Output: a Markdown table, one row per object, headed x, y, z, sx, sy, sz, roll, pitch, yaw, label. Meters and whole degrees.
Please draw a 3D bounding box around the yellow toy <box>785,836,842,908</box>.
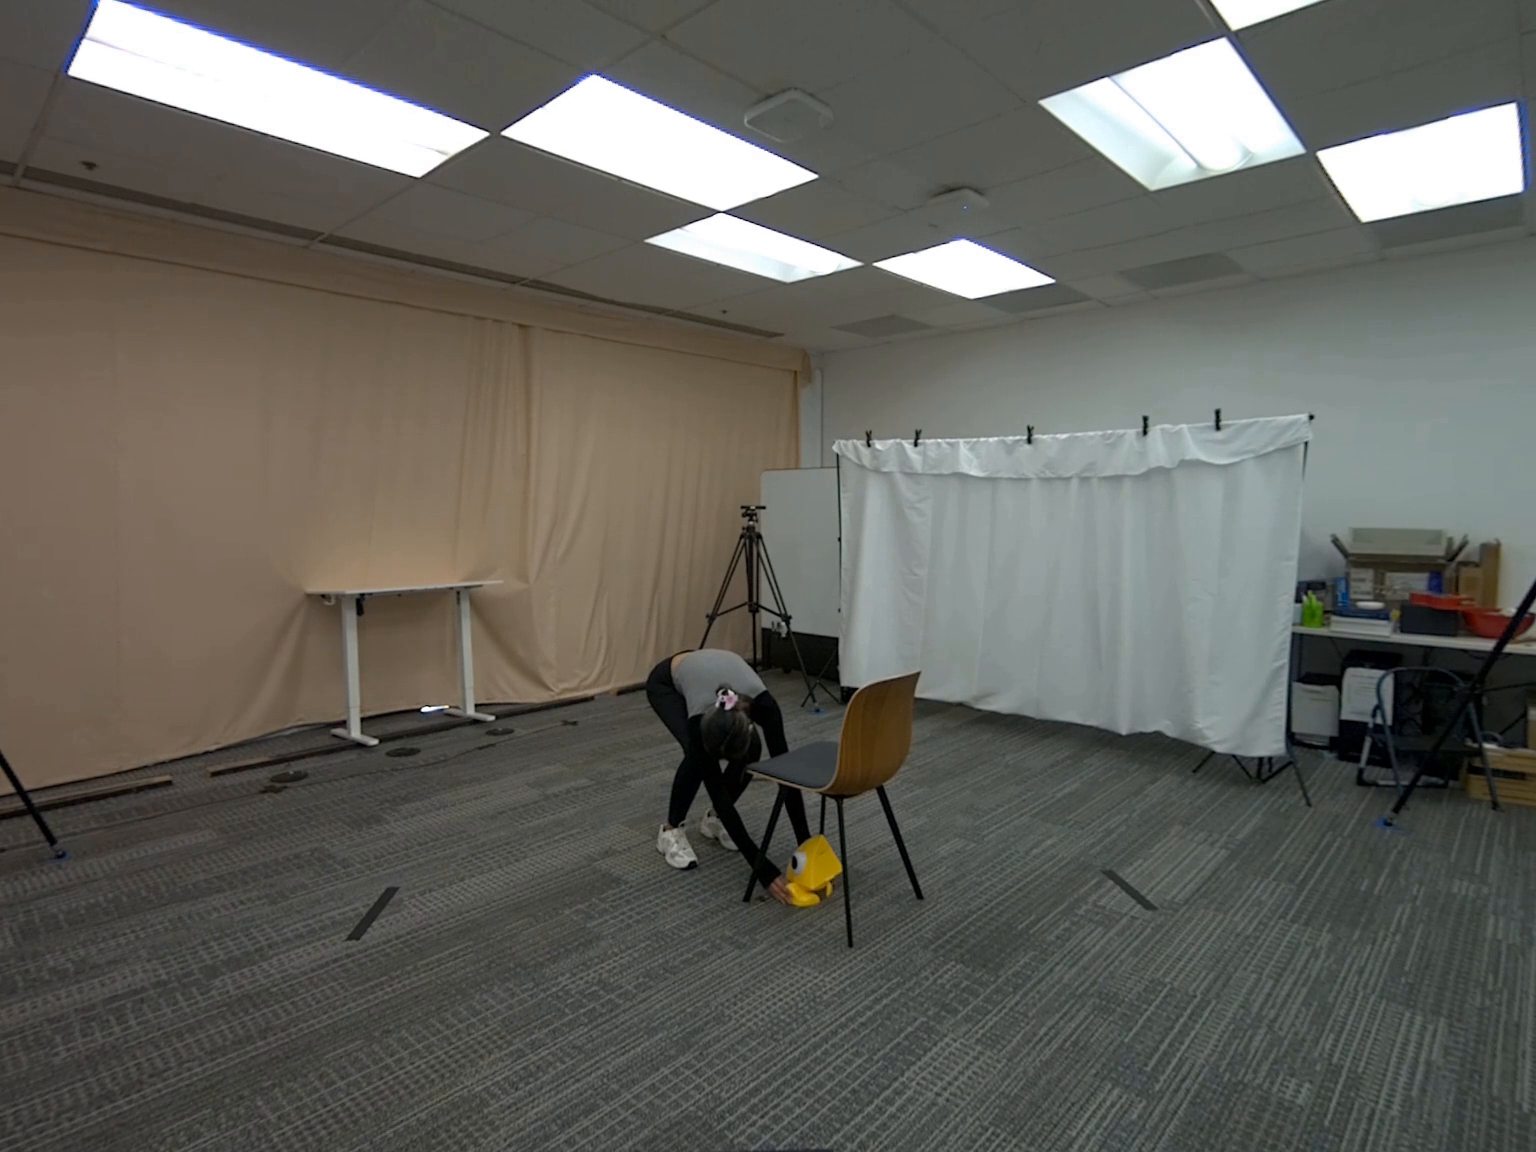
| x | y | z | sx | sy | sz | roll | pitch | yaw | label |
| --- | --- | --- | --- | --- | --- | --- | --- | --- | --- |
| 0.141 | 1.027 | 3.015 | 0.199 | 0.230 | 0.199 | 5 | 6 | 37 | yellow toy |
